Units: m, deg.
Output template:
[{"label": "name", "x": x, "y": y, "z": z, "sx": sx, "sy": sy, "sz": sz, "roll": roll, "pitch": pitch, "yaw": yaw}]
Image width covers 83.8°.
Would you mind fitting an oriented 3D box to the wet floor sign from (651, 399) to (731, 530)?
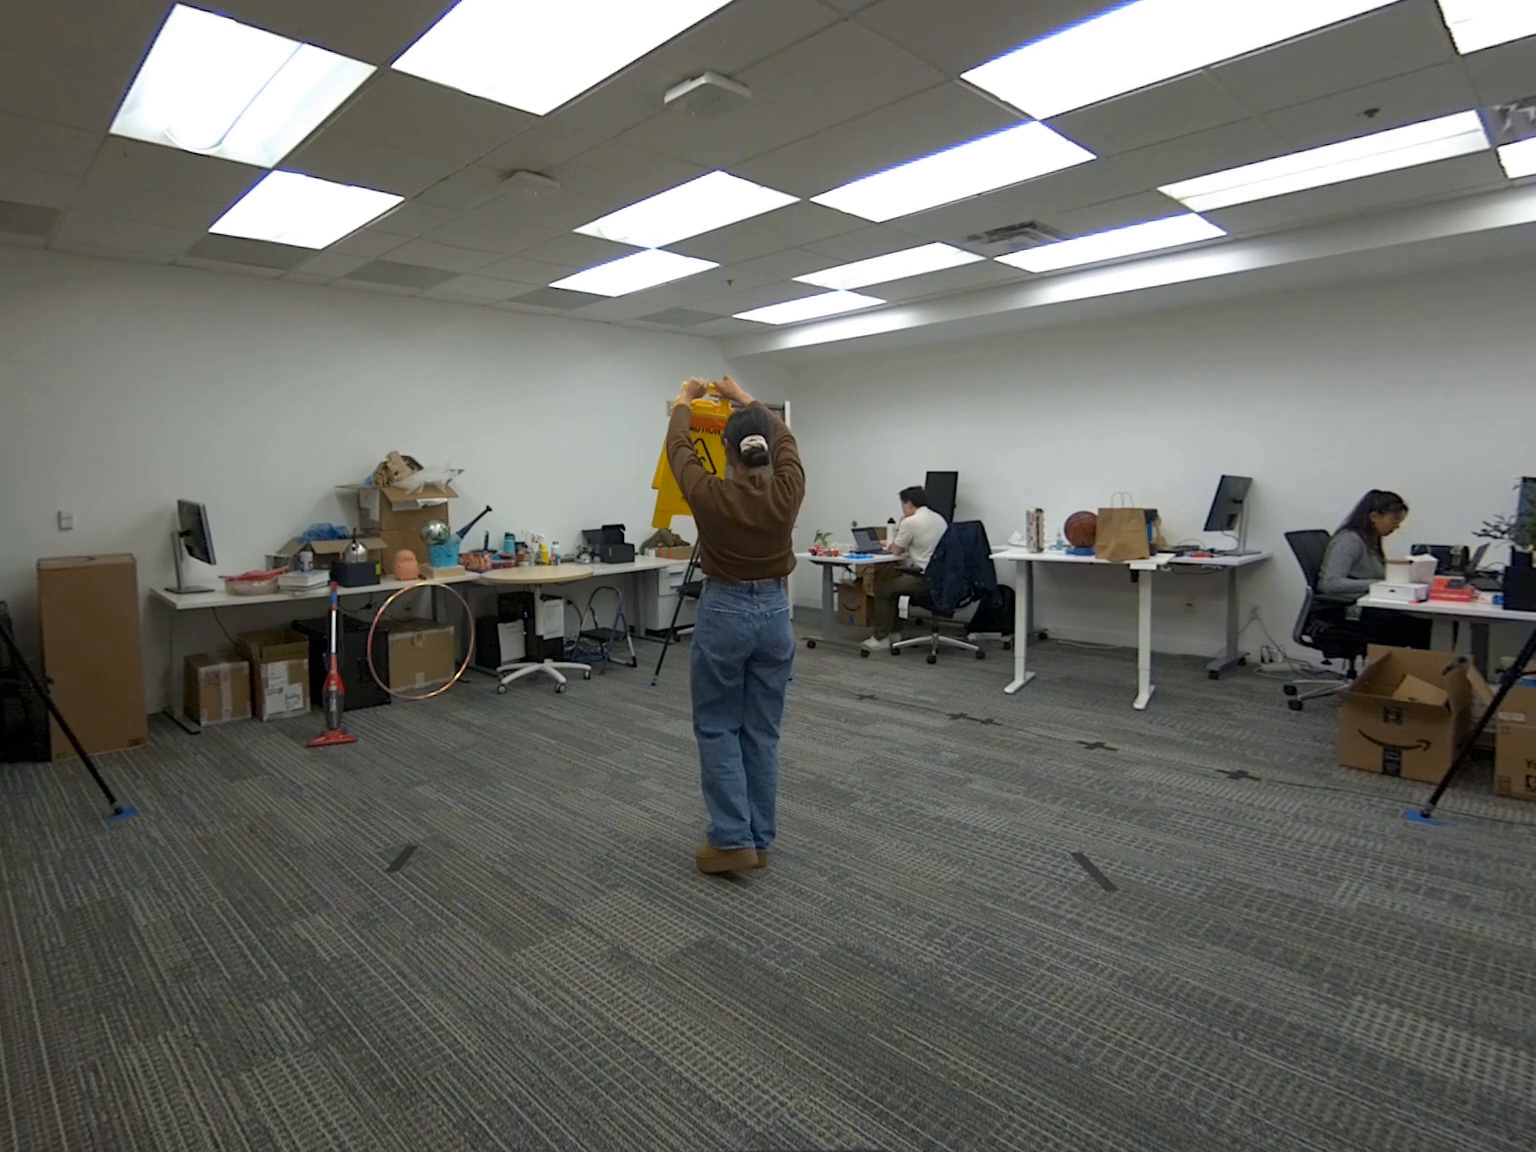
[{"label": "wet floor sign", "x": -0.295, "y": -0.516, "z": 3.519, "sx": 0.279, "sy": 0.633, "sz": 0.298, "roll": 5, "pitch": 42, "yaw": -10}]
